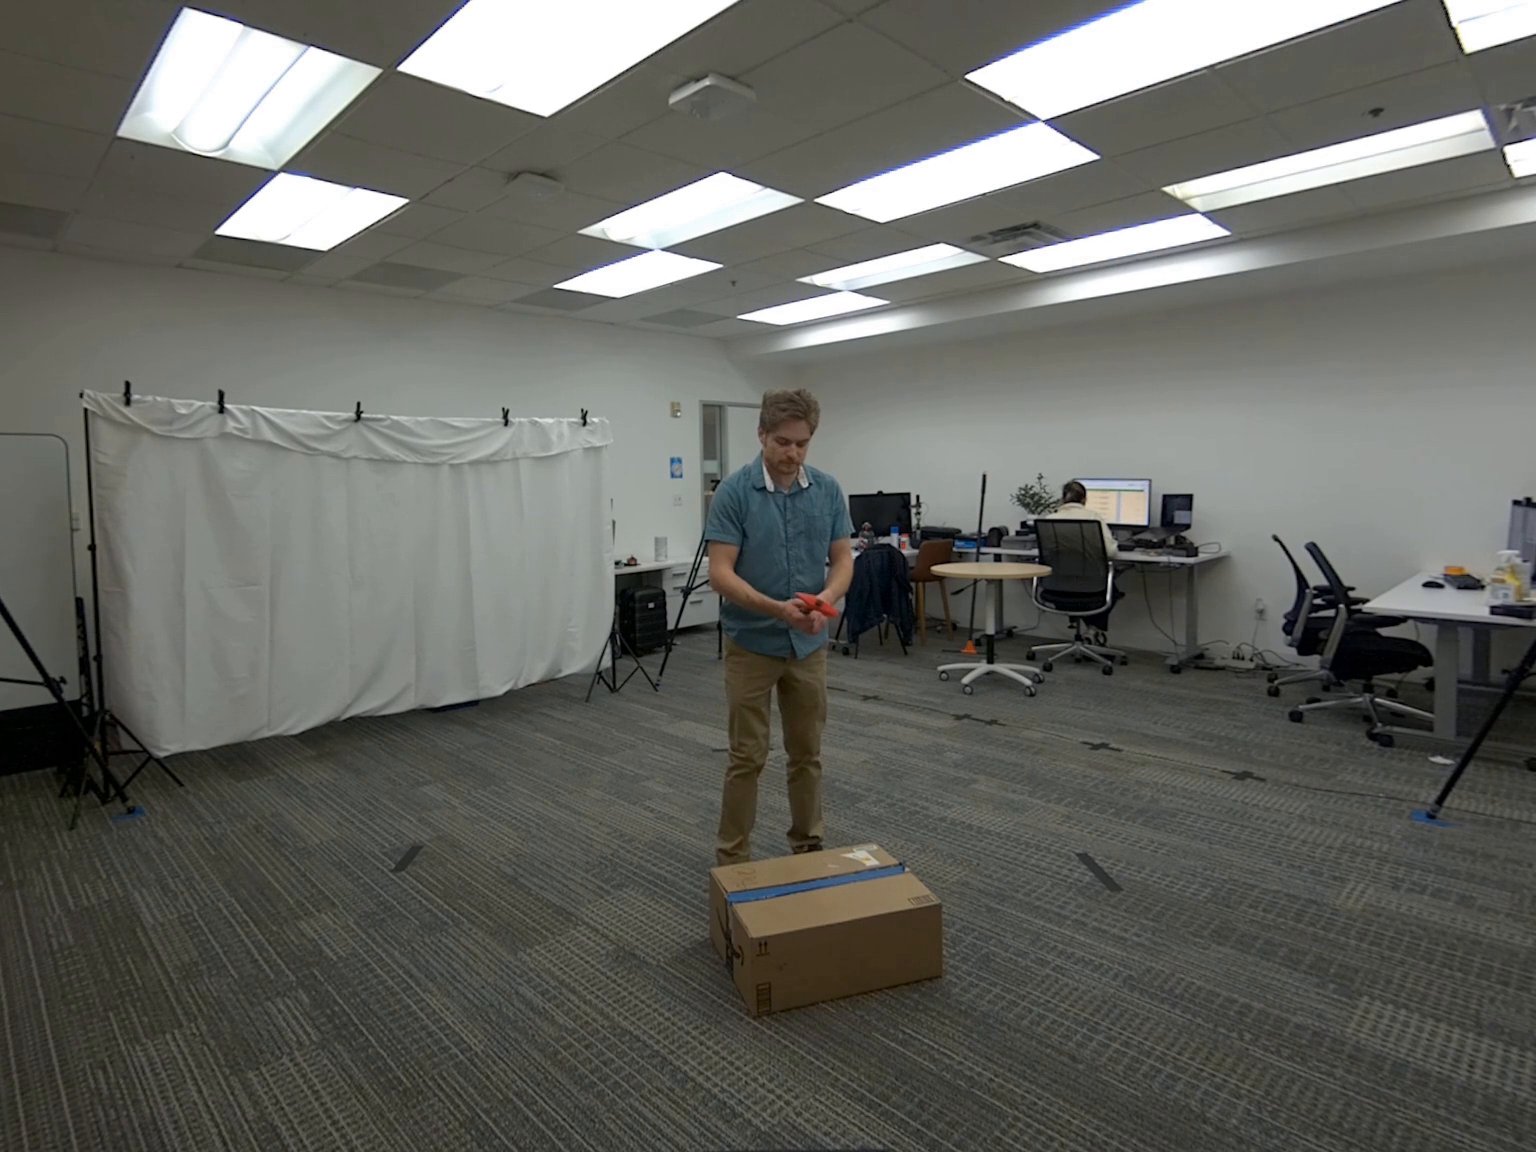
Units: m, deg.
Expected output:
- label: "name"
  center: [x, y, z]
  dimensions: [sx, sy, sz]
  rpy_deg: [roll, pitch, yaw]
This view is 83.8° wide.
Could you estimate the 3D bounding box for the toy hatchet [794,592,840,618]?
- label: "toy hatchet"
  center: [0.174, 0.113, 2.514]
  dimensions: [0.134, 0.030, 0.263]
  rpy_deg: [23, -11, 16]
